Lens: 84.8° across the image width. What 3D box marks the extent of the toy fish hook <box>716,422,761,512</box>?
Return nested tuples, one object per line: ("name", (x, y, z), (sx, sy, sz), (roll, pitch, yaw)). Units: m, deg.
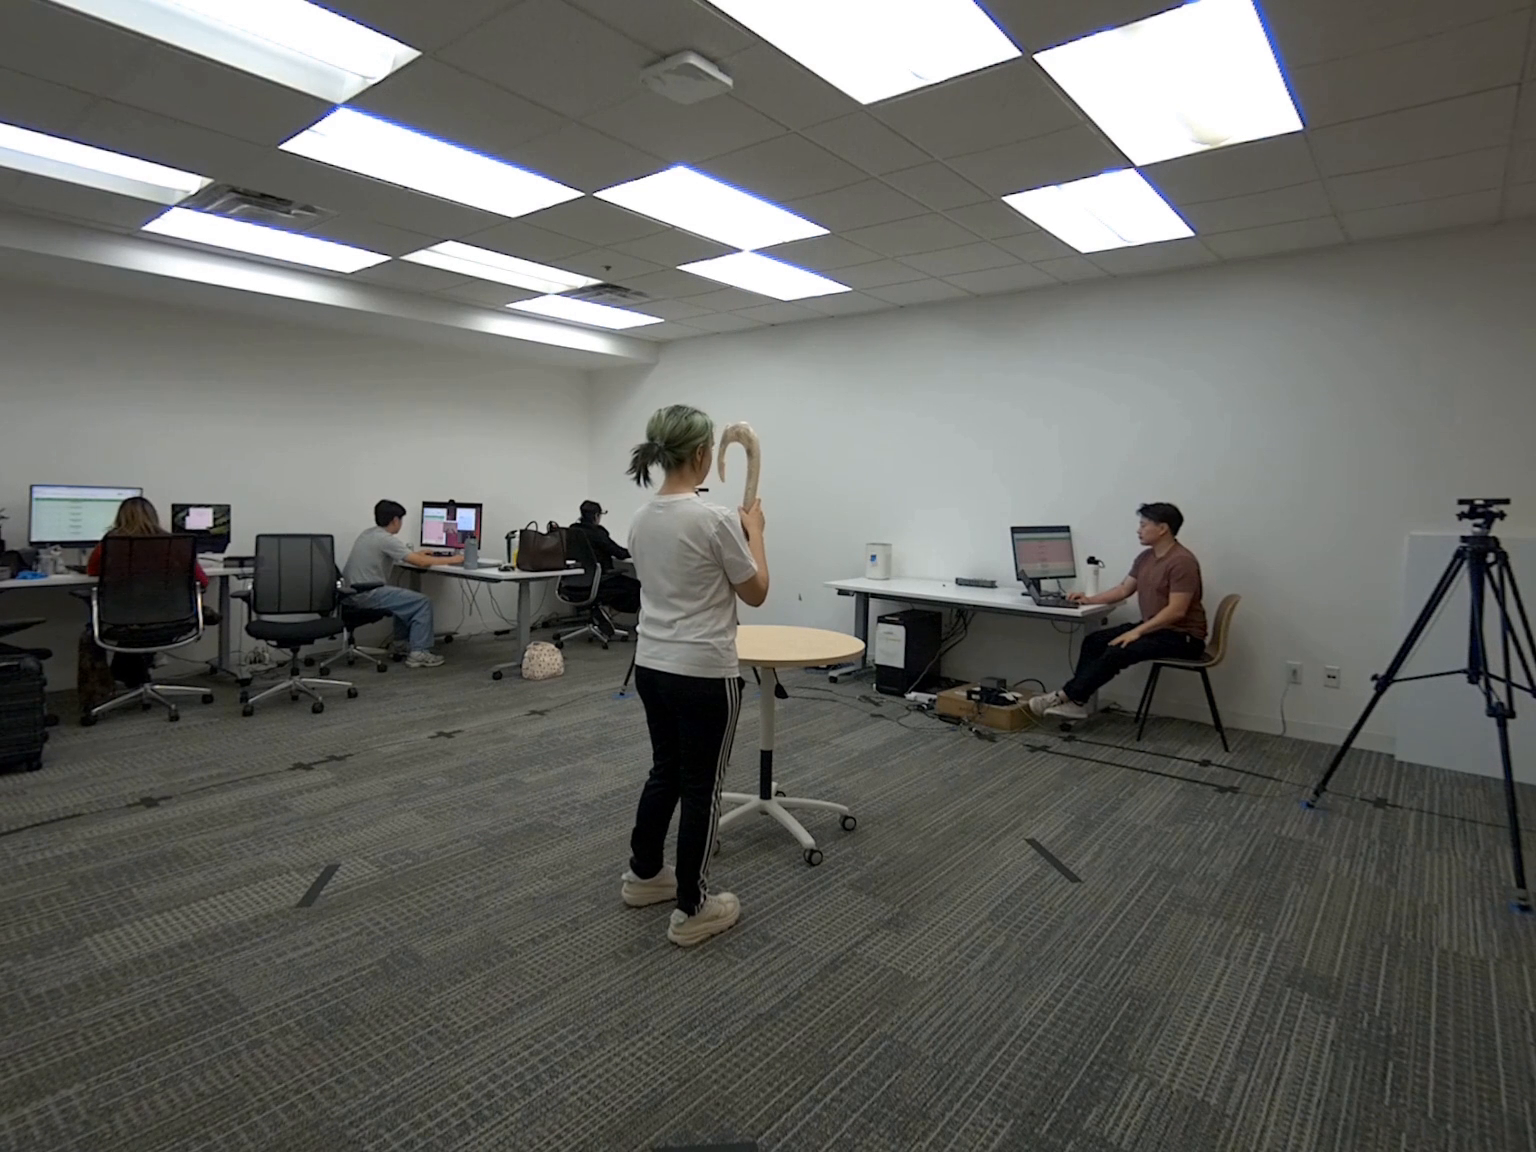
("toy fish hook", (-0.110, -0.262, 2.830), (0.047, 0.507, 0.231), (1, -1, -34))
